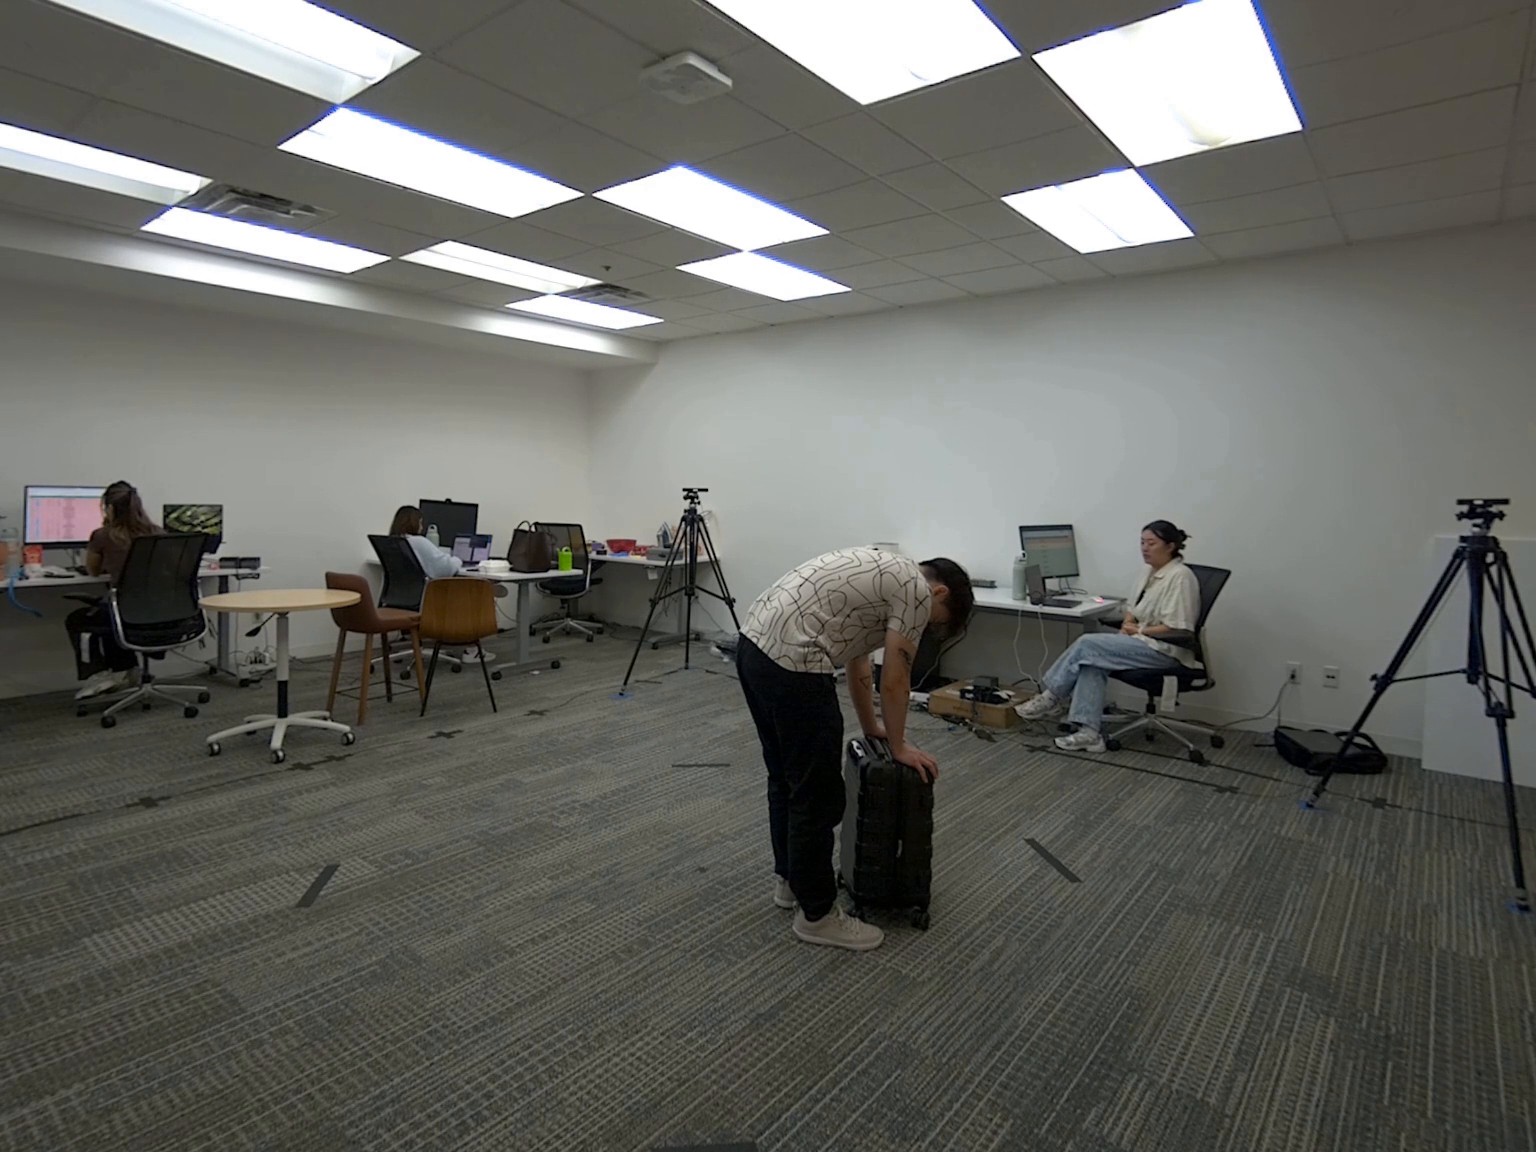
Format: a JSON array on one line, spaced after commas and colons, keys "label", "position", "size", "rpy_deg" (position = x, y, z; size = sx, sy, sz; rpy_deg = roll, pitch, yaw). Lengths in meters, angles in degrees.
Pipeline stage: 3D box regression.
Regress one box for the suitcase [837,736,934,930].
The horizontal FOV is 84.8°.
[{"label": "suitcase", "position": [0.398, 0.834, 2.878], "size": [0.247, 0.548, 0.377], "rpy_deg": [4, 3, -4]}]
